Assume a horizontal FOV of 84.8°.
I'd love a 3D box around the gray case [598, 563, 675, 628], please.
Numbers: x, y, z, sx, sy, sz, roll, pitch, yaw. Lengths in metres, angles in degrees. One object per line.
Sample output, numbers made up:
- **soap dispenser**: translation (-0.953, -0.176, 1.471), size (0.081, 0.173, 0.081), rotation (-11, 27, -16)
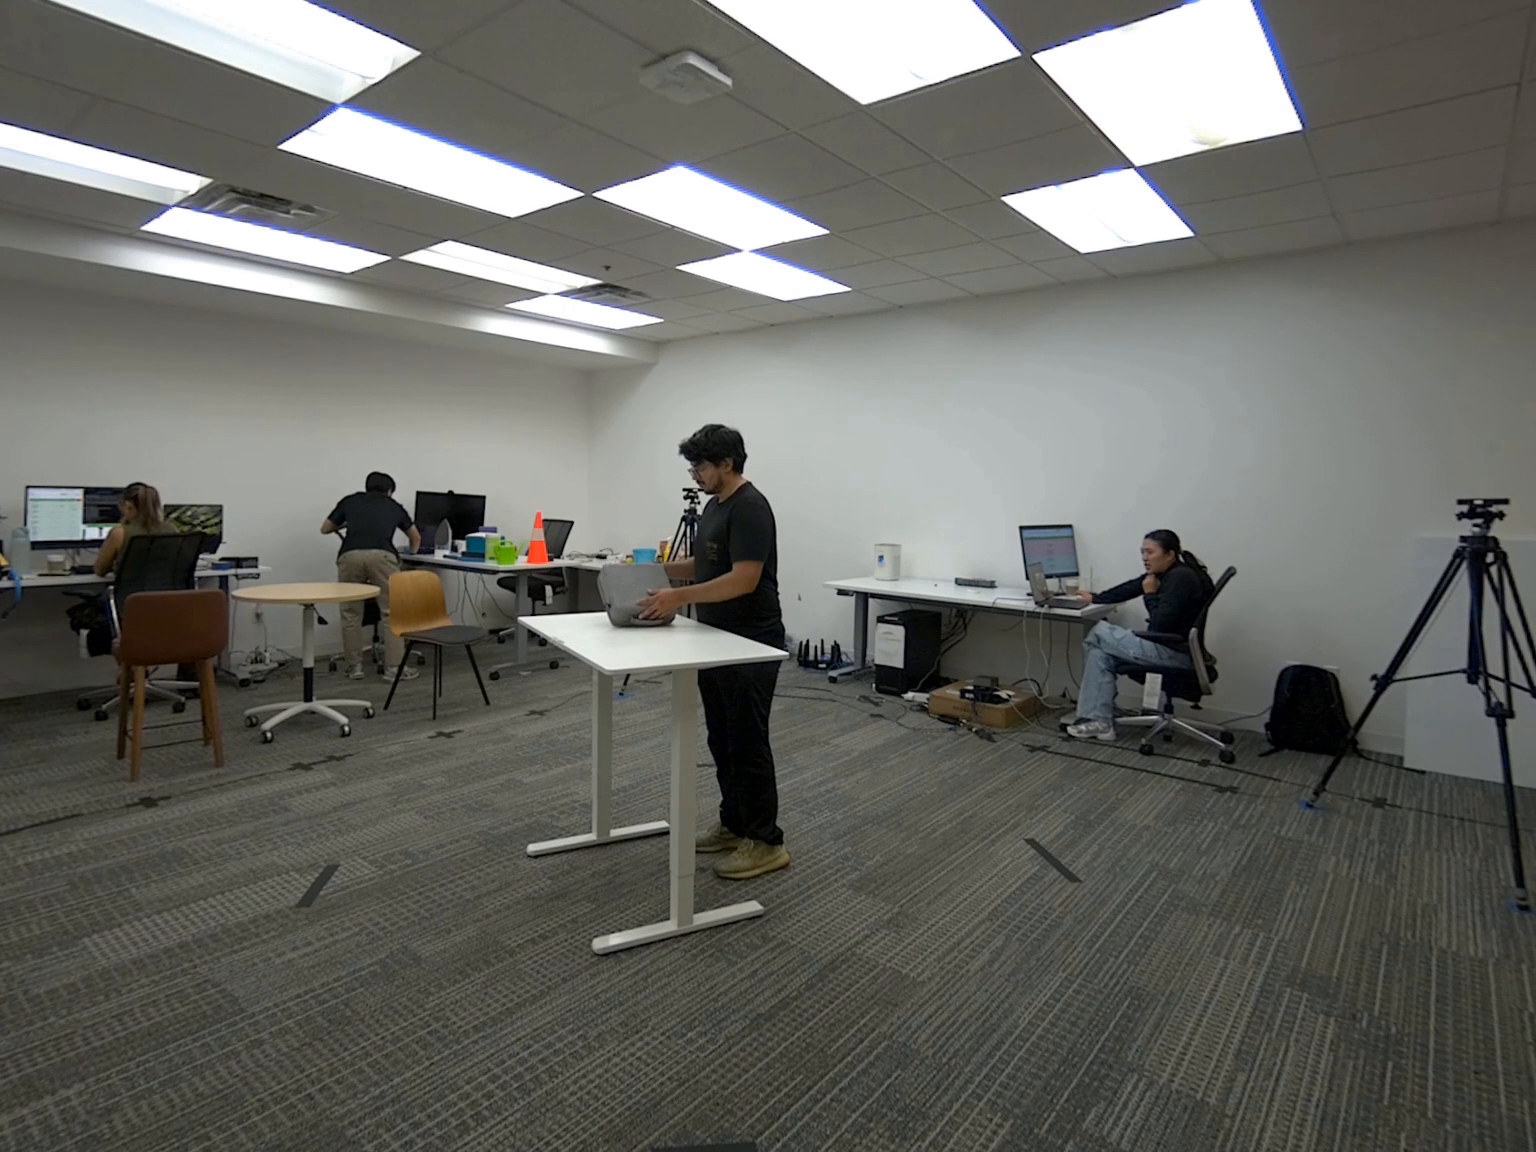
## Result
- **gray case**: translation (-0.494, 0.064, 3.173), size (0.251, 0.103, 0.271), rotation (-4, 49, -27)
